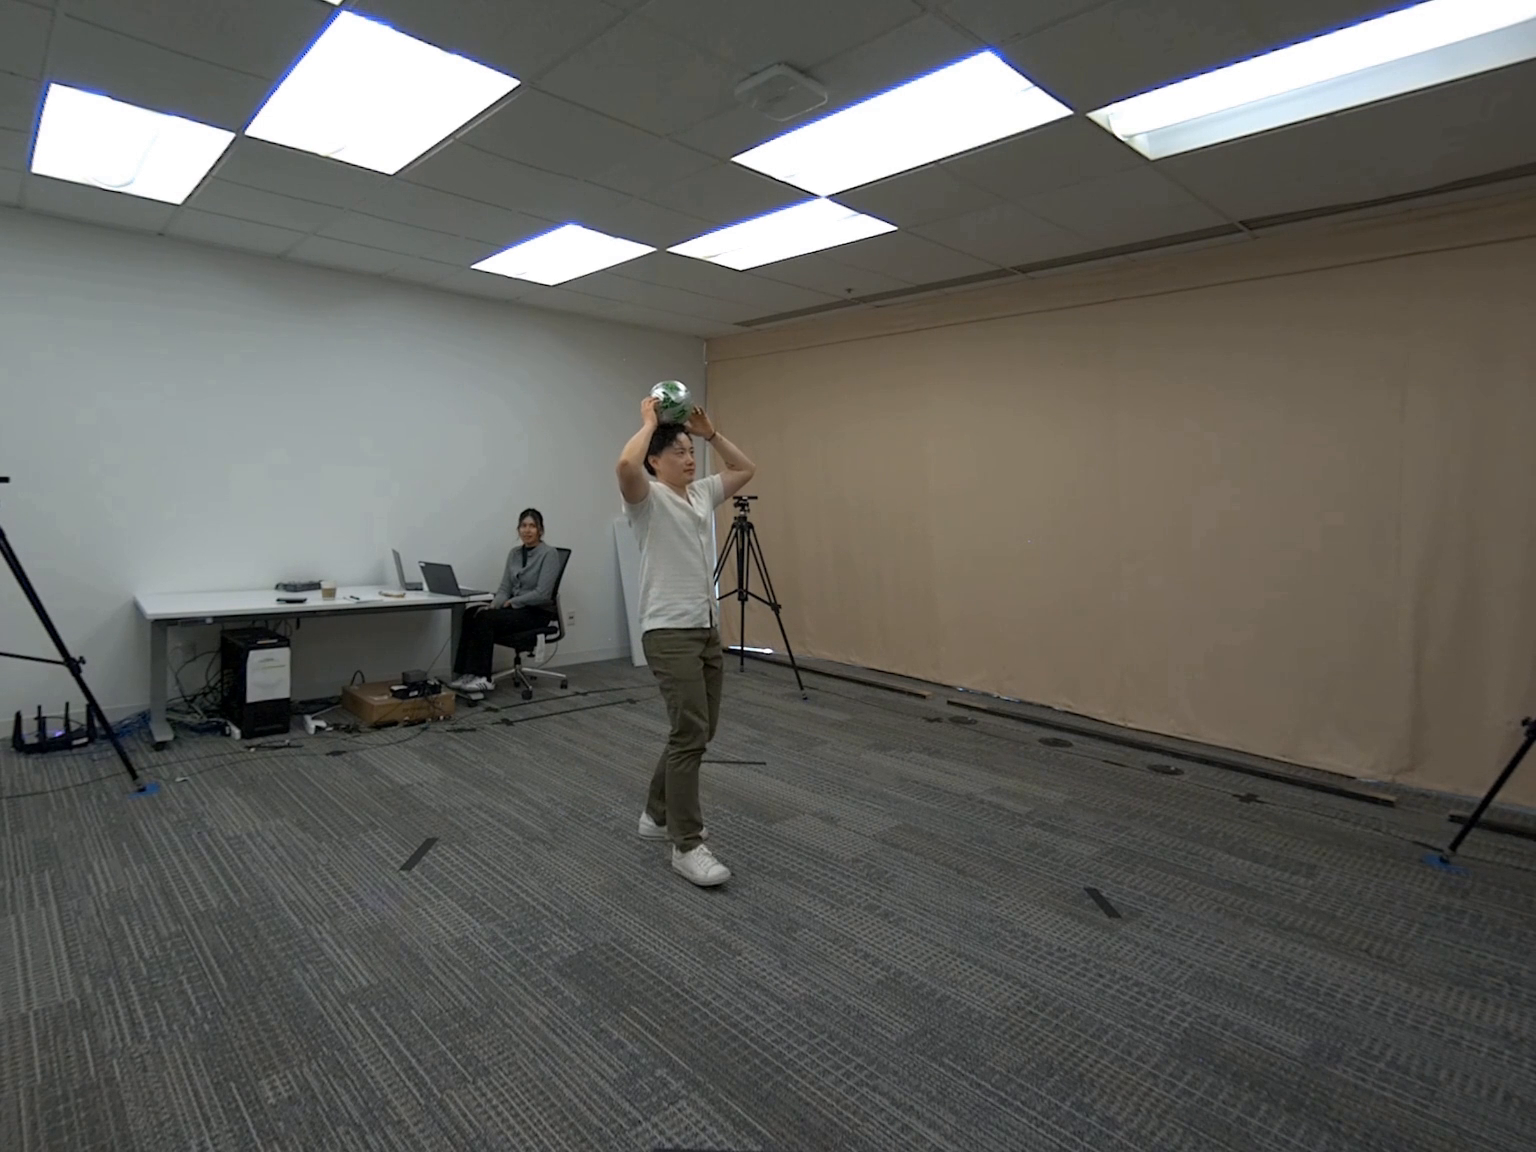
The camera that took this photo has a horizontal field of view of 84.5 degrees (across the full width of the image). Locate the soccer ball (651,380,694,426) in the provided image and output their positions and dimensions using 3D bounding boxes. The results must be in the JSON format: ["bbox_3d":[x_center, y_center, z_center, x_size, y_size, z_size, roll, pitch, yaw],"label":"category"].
[{"bbox_3d":[-0.403,-0.679,3.327,0.187,0.187,0.188,1,4,-1],"label":"soccer ball"}]
